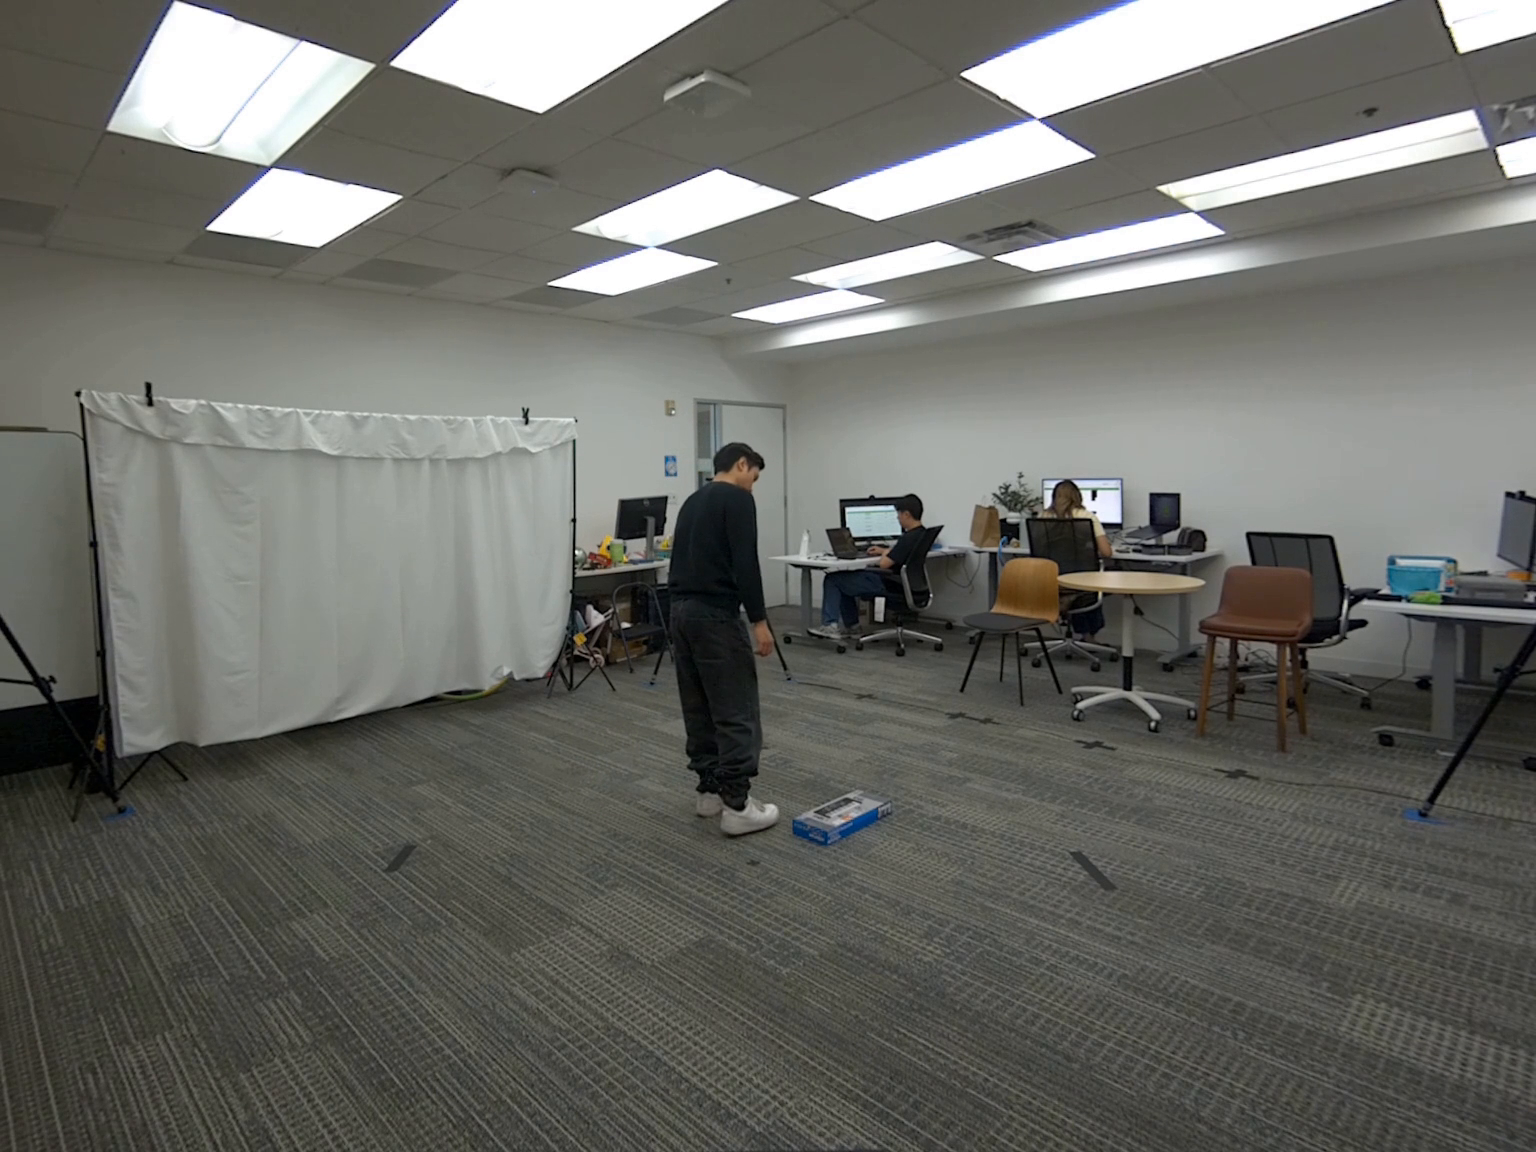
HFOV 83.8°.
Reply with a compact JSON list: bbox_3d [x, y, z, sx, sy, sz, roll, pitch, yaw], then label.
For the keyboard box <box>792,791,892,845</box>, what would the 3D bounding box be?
[{"bbox_3d":[0.307,0.966,3.438,0.181,0.059,0.425,6,9,44],"label":"keyboard box"}]
